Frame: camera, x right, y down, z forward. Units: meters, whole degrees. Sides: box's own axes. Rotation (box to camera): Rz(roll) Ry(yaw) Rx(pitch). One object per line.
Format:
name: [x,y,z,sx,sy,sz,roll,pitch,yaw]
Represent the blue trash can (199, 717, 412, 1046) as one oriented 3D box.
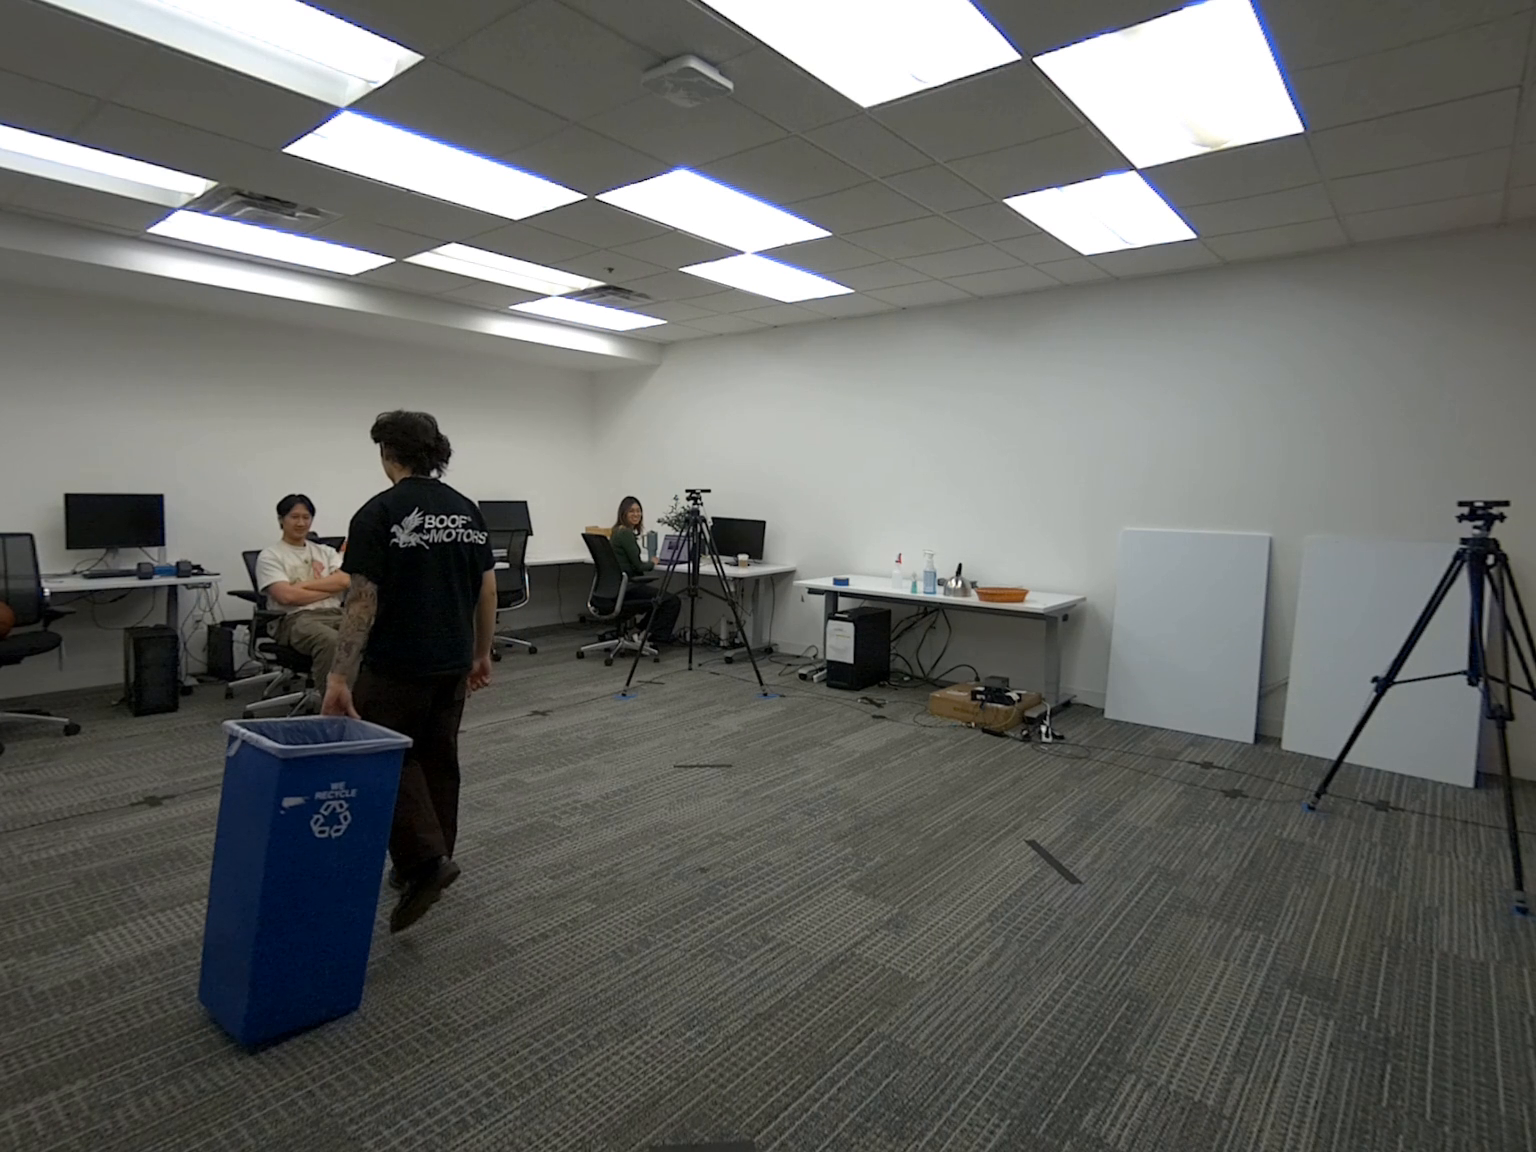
blue trash can: [-1.255,0.766,2.267,0.390,0.716,0.361,3,-4,37]
